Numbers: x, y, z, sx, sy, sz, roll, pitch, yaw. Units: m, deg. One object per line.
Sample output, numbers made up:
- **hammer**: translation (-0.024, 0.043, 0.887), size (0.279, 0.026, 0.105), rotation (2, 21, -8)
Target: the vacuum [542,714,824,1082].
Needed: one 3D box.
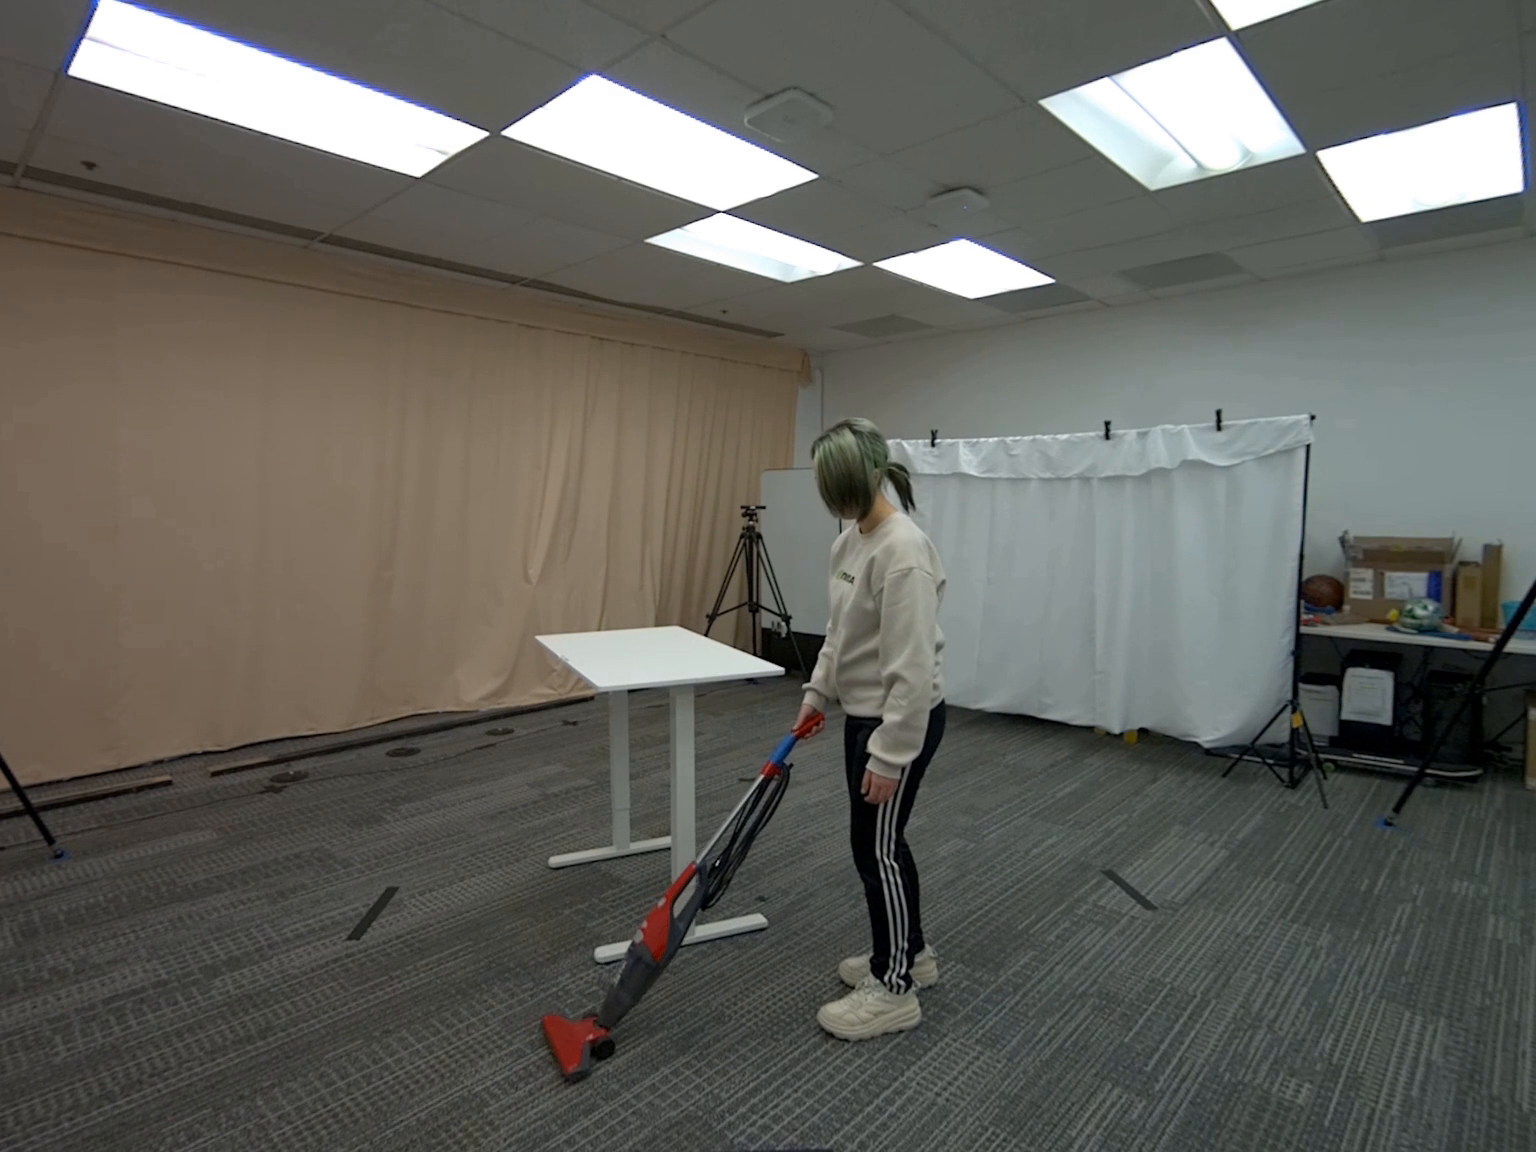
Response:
- **vacuum**: translation (-0.168, 0.825, 2.288), size (0.140, 1.045, 0.260), rotation (49, -18, -27)
